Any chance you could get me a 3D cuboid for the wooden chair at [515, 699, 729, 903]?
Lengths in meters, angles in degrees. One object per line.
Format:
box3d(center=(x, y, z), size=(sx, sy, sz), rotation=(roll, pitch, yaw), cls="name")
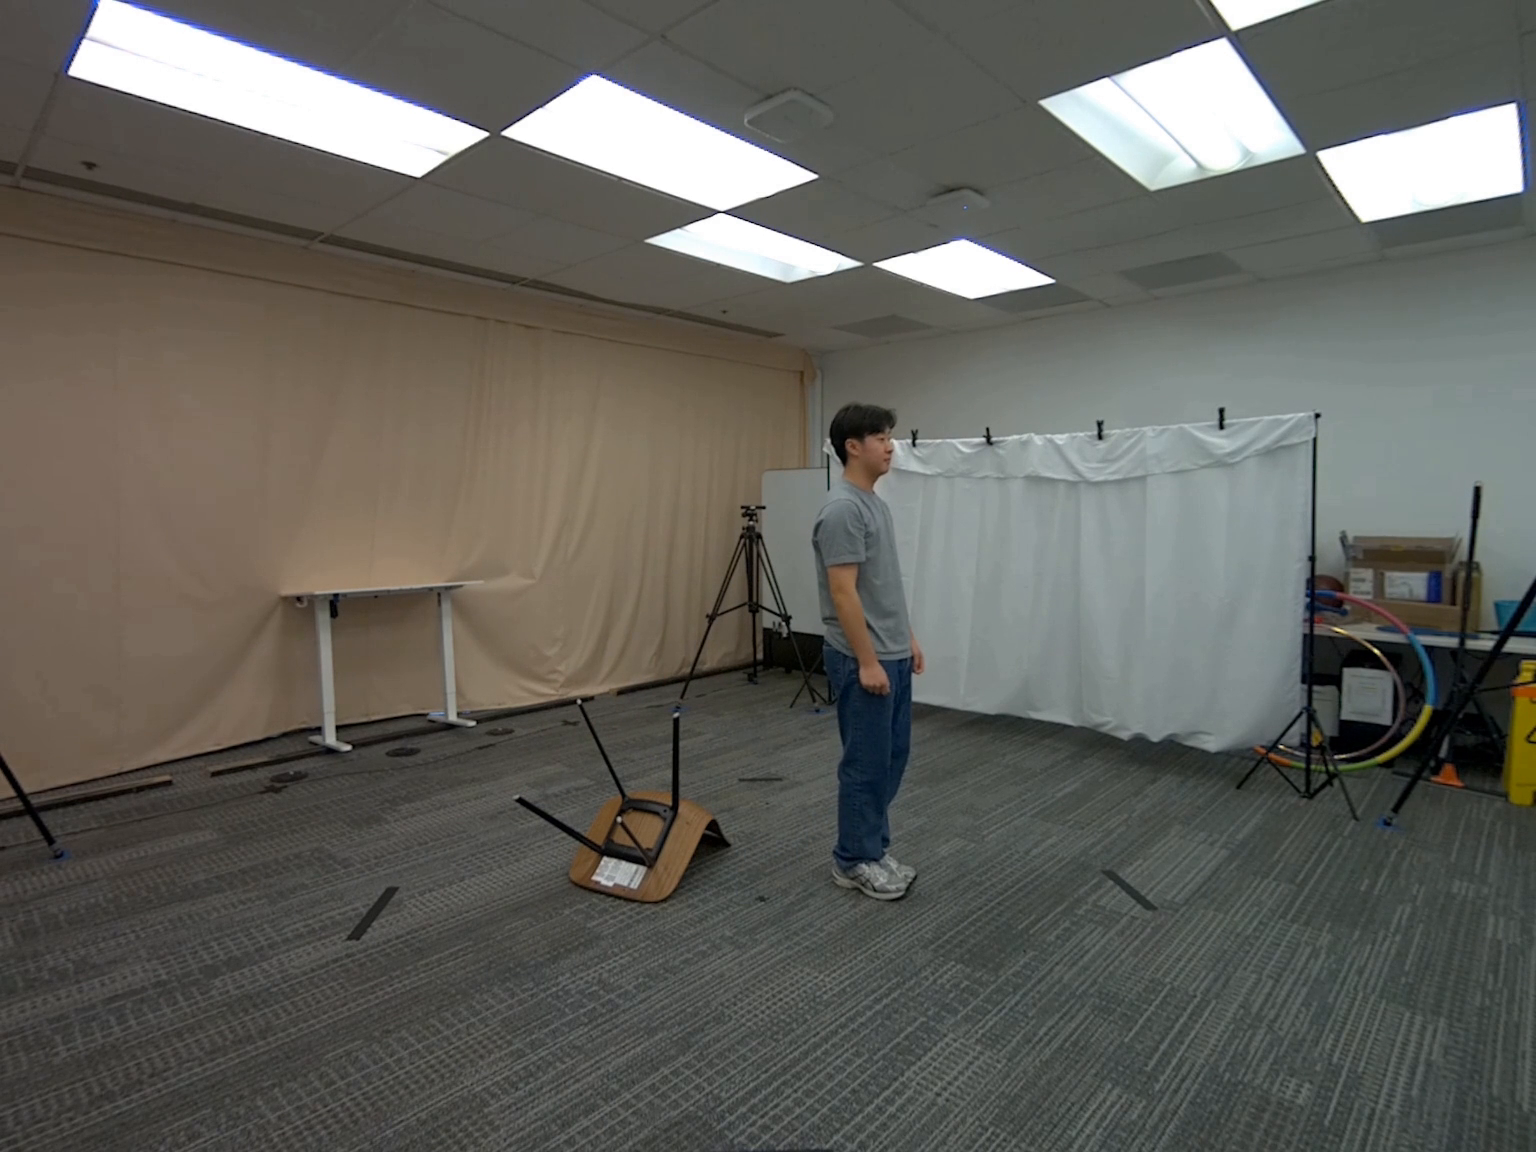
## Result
box3d(center=(-0.496, 0.963, 3.178), size=(0.491, 0.852, 0.524), rotation=(1, 44, 26), cls="wooden chair")
